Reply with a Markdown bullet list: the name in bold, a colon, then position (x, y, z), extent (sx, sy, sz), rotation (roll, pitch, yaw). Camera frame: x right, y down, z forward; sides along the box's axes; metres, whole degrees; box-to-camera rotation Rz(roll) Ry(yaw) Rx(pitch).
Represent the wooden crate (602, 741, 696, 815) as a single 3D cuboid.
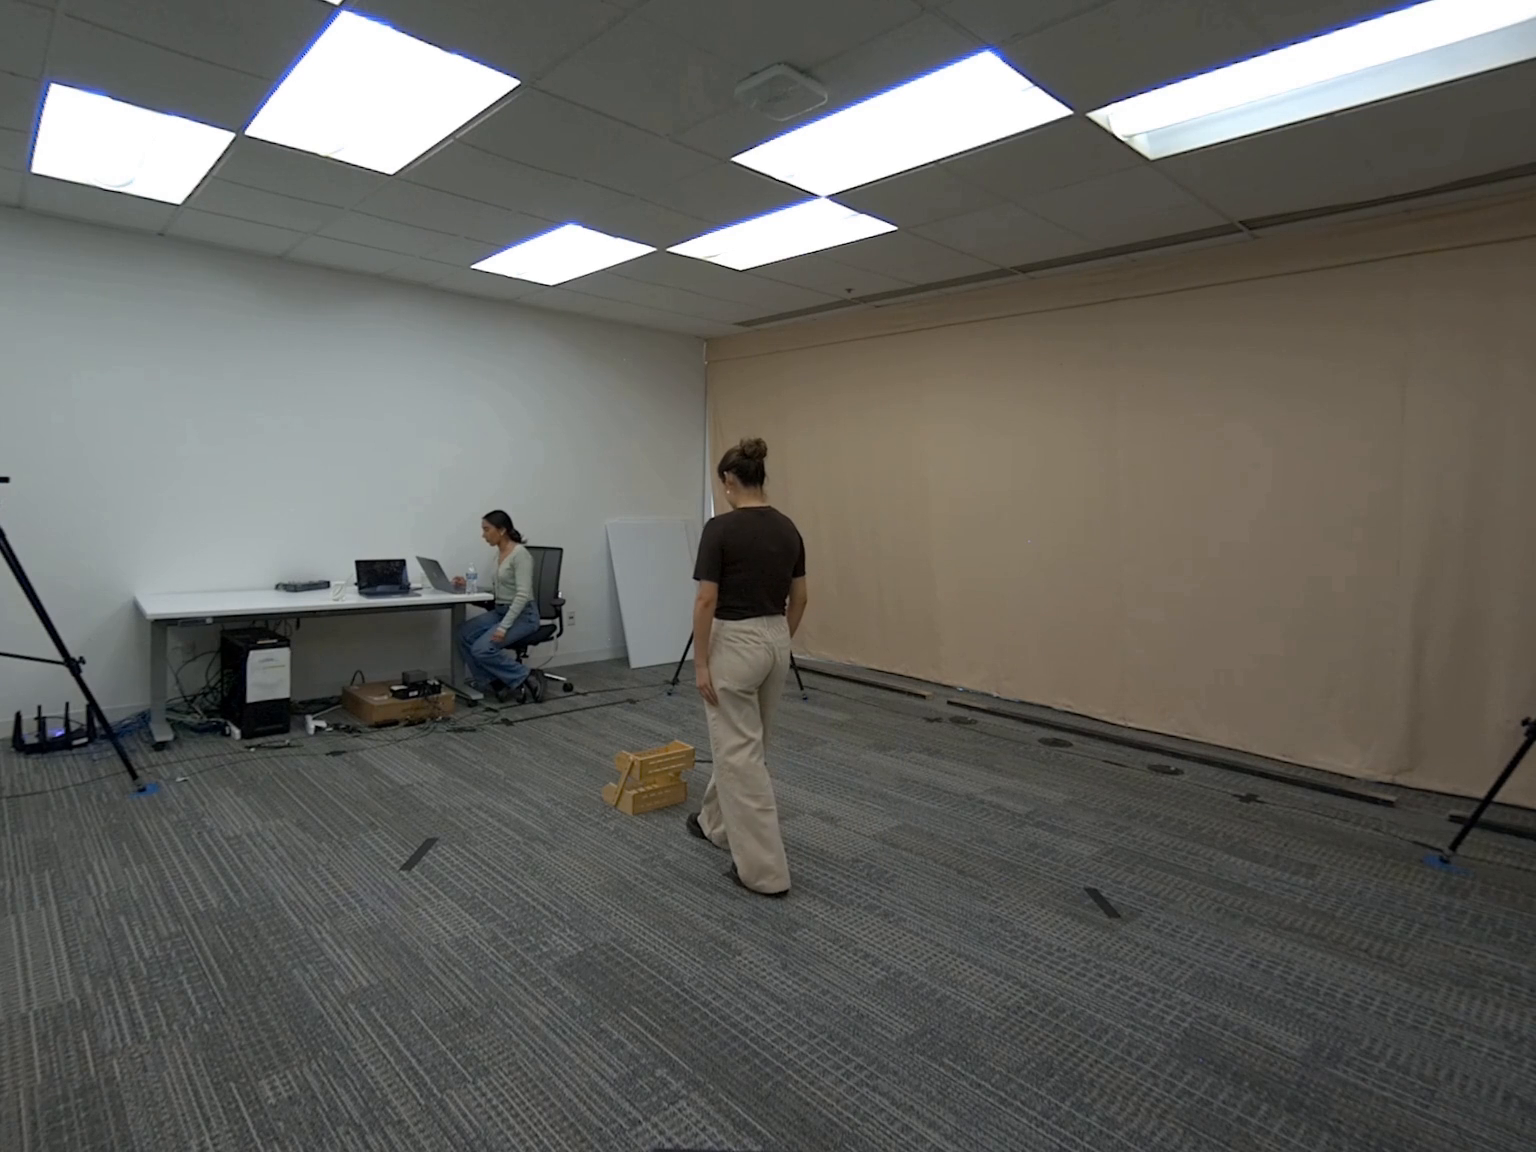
- **wooden crate**: position (-0.558, 0.896, 3.833), extent (0.317, 0.272, 0.310), rotation (-2, 6, -42)
